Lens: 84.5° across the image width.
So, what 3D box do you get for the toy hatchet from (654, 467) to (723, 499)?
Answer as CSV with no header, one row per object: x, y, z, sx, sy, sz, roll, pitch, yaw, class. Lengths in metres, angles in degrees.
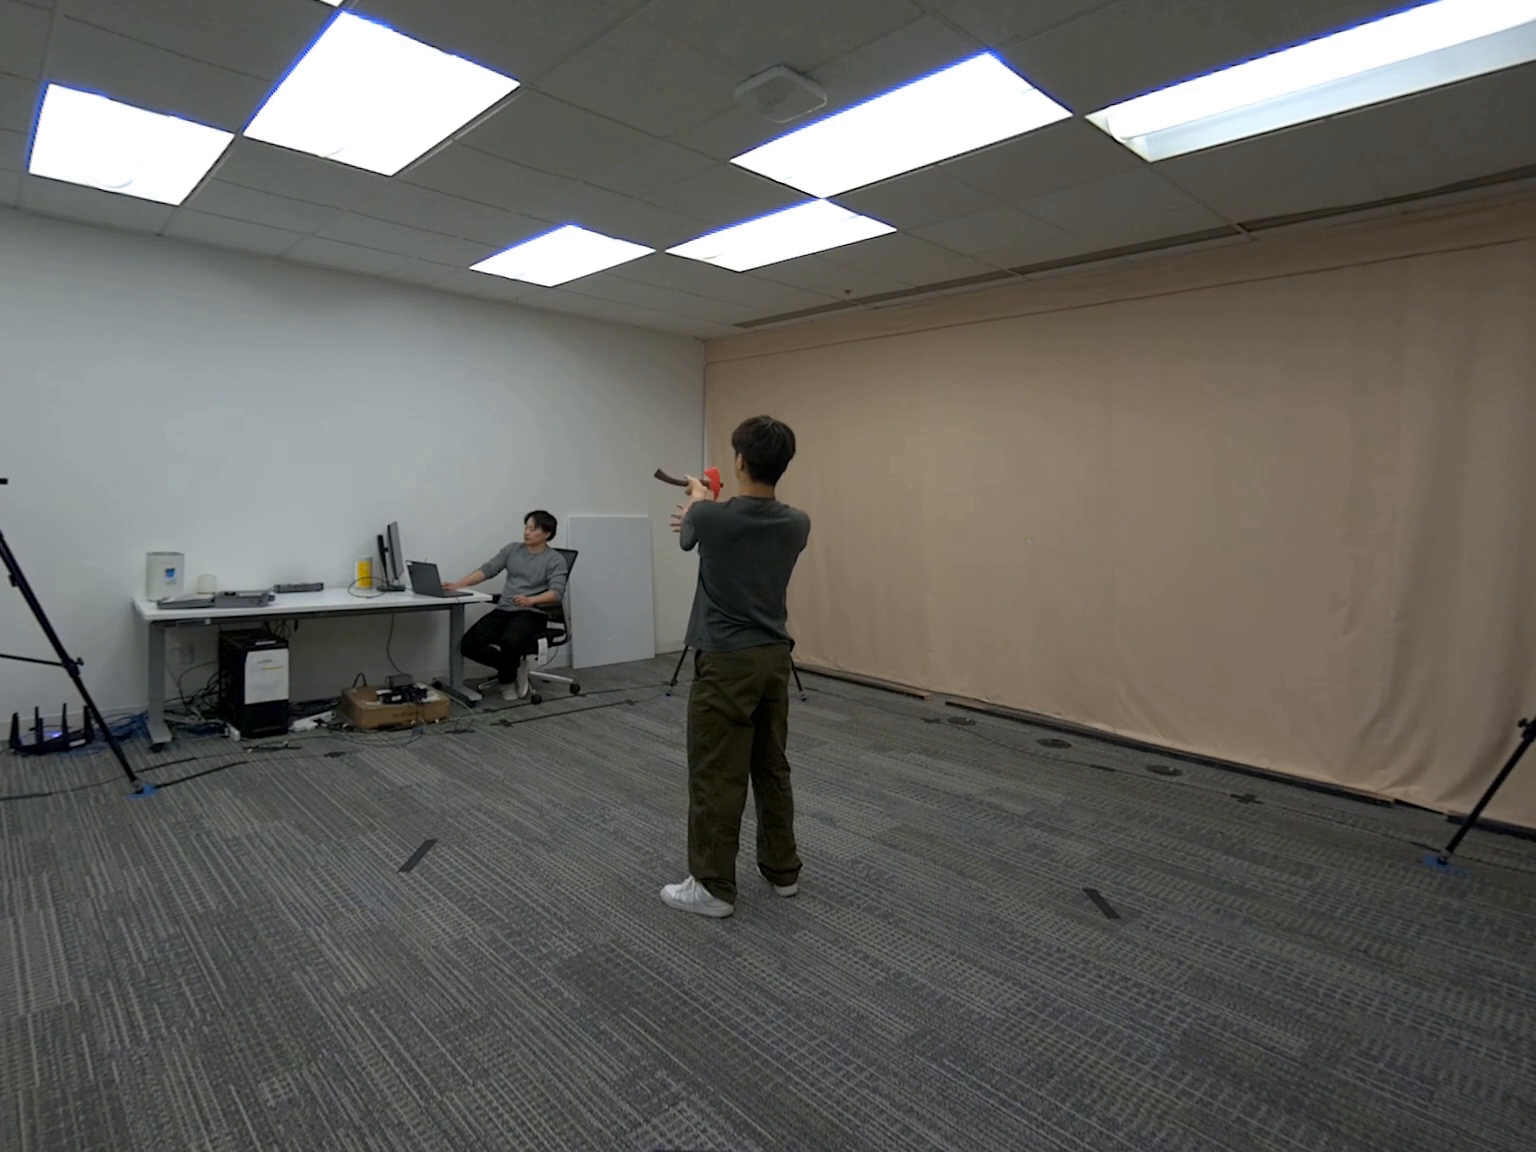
-0.322,-0.400,3.310,0.269,0.131,0.030,25,8,-3,toy hatchet
